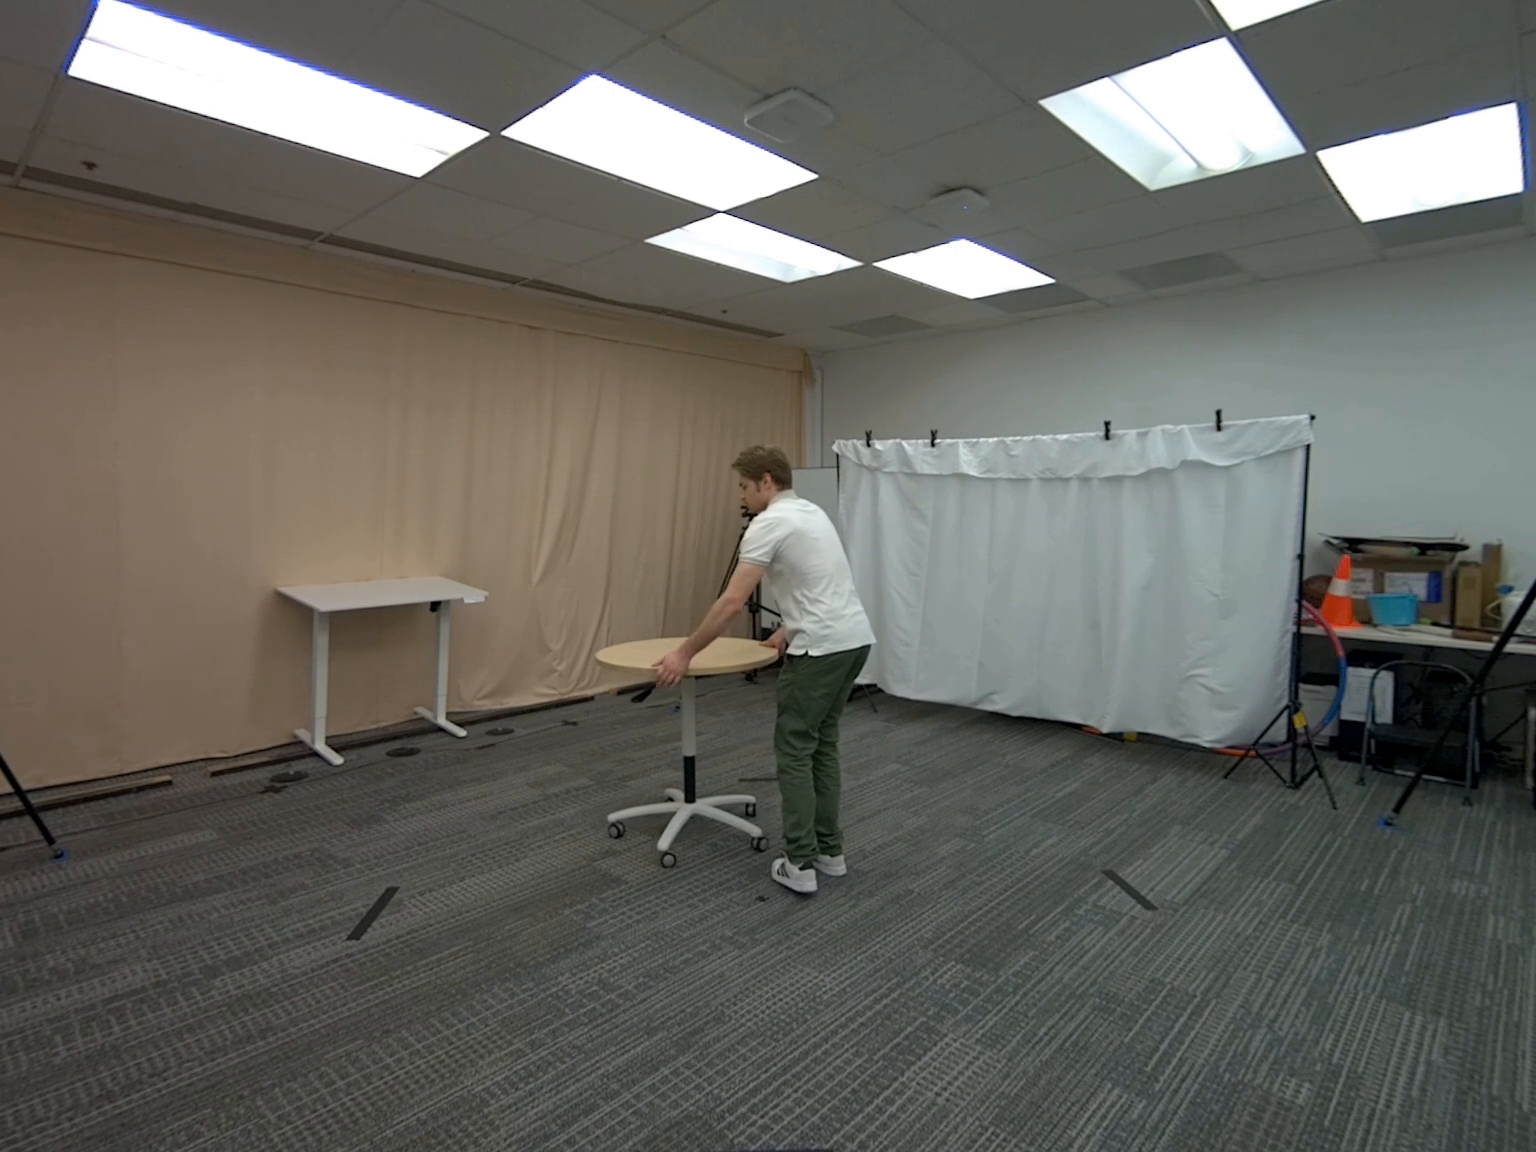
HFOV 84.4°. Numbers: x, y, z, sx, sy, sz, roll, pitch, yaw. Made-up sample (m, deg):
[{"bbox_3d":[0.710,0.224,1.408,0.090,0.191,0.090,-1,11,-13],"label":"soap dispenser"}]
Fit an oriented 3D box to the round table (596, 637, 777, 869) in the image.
[{"bbox_3d":[-0.331,0.709,3.551,0.763,0.792,0.766,-1,3,-2],"label":"round table"}]
